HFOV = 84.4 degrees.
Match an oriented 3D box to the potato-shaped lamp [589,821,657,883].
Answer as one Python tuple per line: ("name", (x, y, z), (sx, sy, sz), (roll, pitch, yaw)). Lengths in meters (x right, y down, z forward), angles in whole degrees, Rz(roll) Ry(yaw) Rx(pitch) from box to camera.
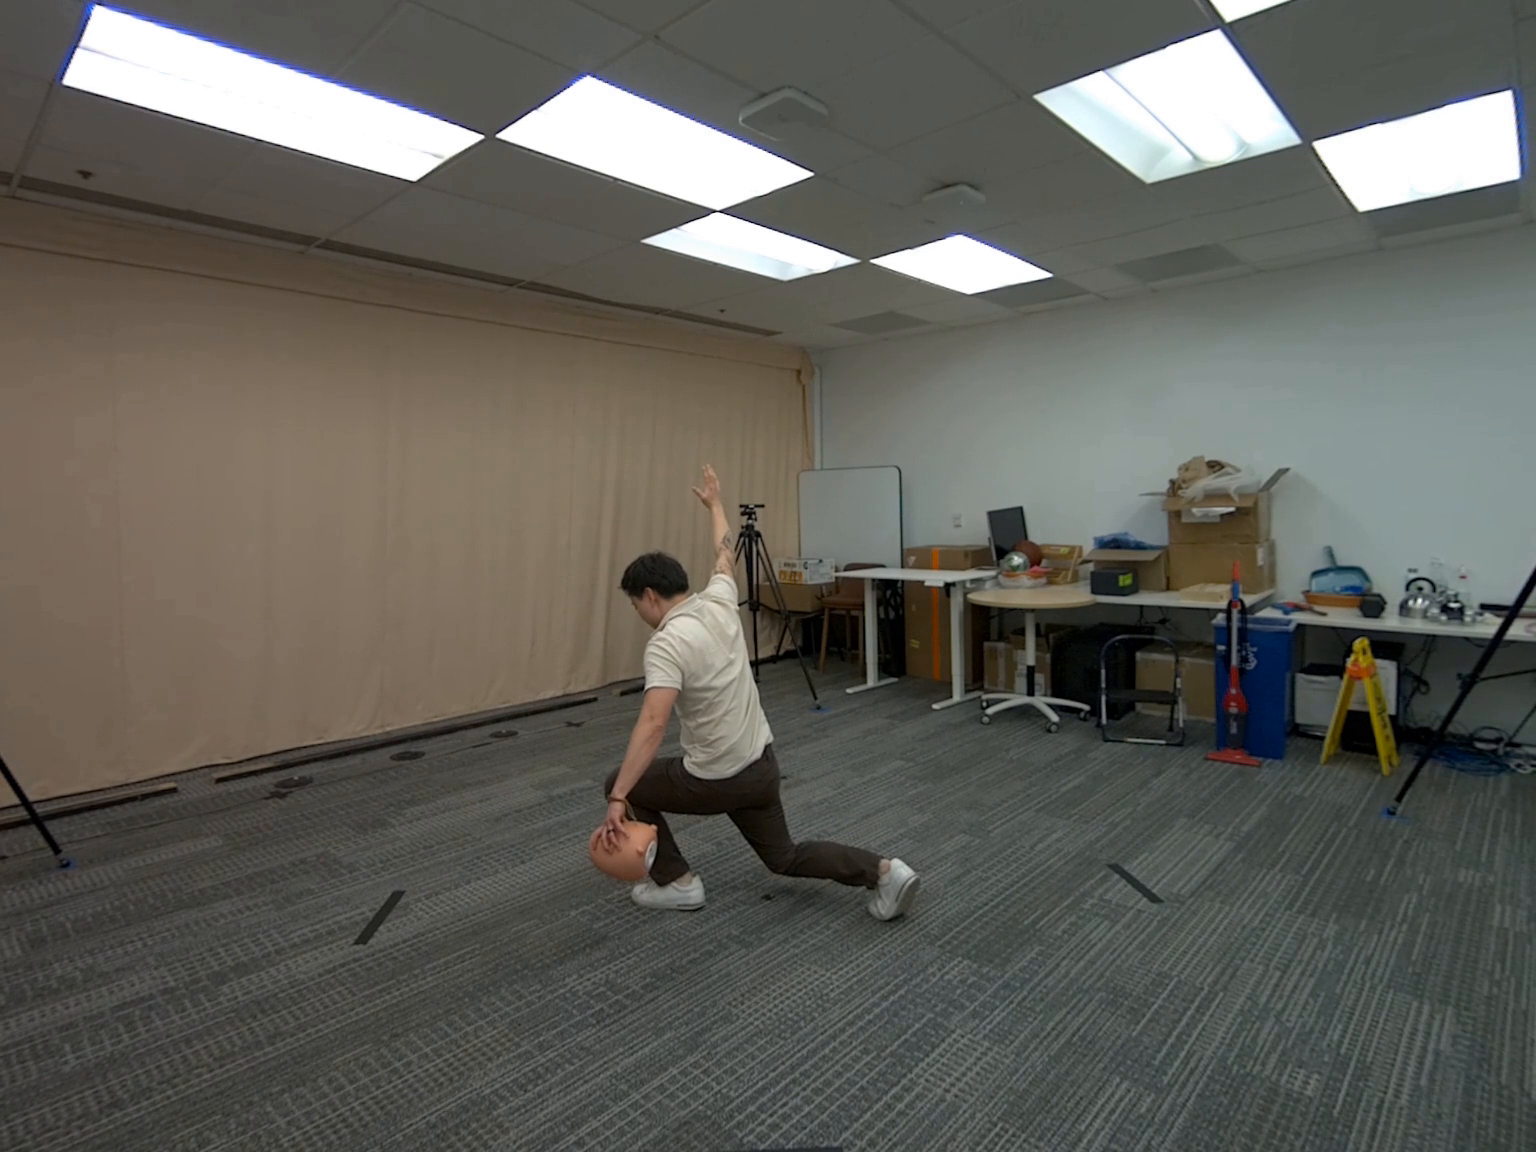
("potato-shaped lamp", (-0.431, 0.815, 2.513), (0.202, 0.169, 0.164), (8, 25, 15))
